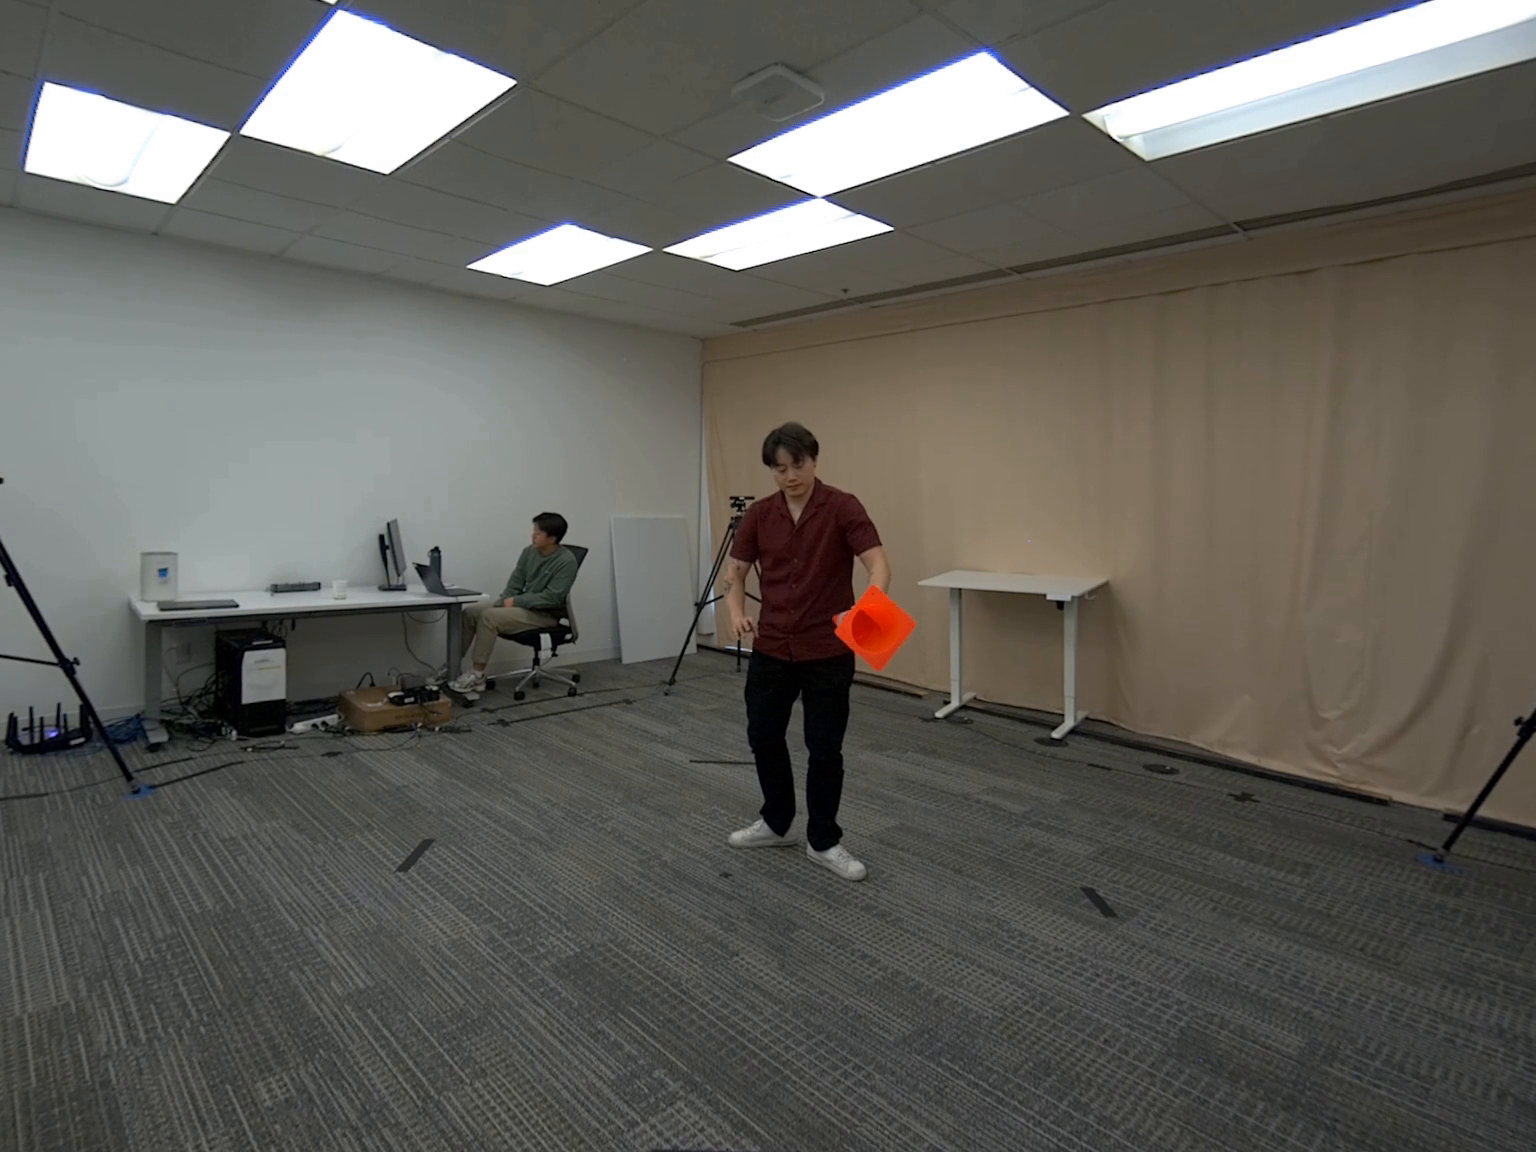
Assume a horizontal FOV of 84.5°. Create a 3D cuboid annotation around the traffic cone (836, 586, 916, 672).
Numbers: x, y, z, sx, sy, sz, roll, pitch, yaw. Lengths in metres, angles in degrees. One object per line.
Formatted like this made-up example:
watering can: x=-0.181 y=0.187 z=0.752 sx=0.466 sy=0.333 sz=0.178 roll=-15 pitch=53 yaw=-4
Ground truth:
traffic cone: x=0.284 y=0.168 z=2.791 sx=0.203 sy=0.204 sz=0.386 roll=32 pitch=-8 yaw=-9
